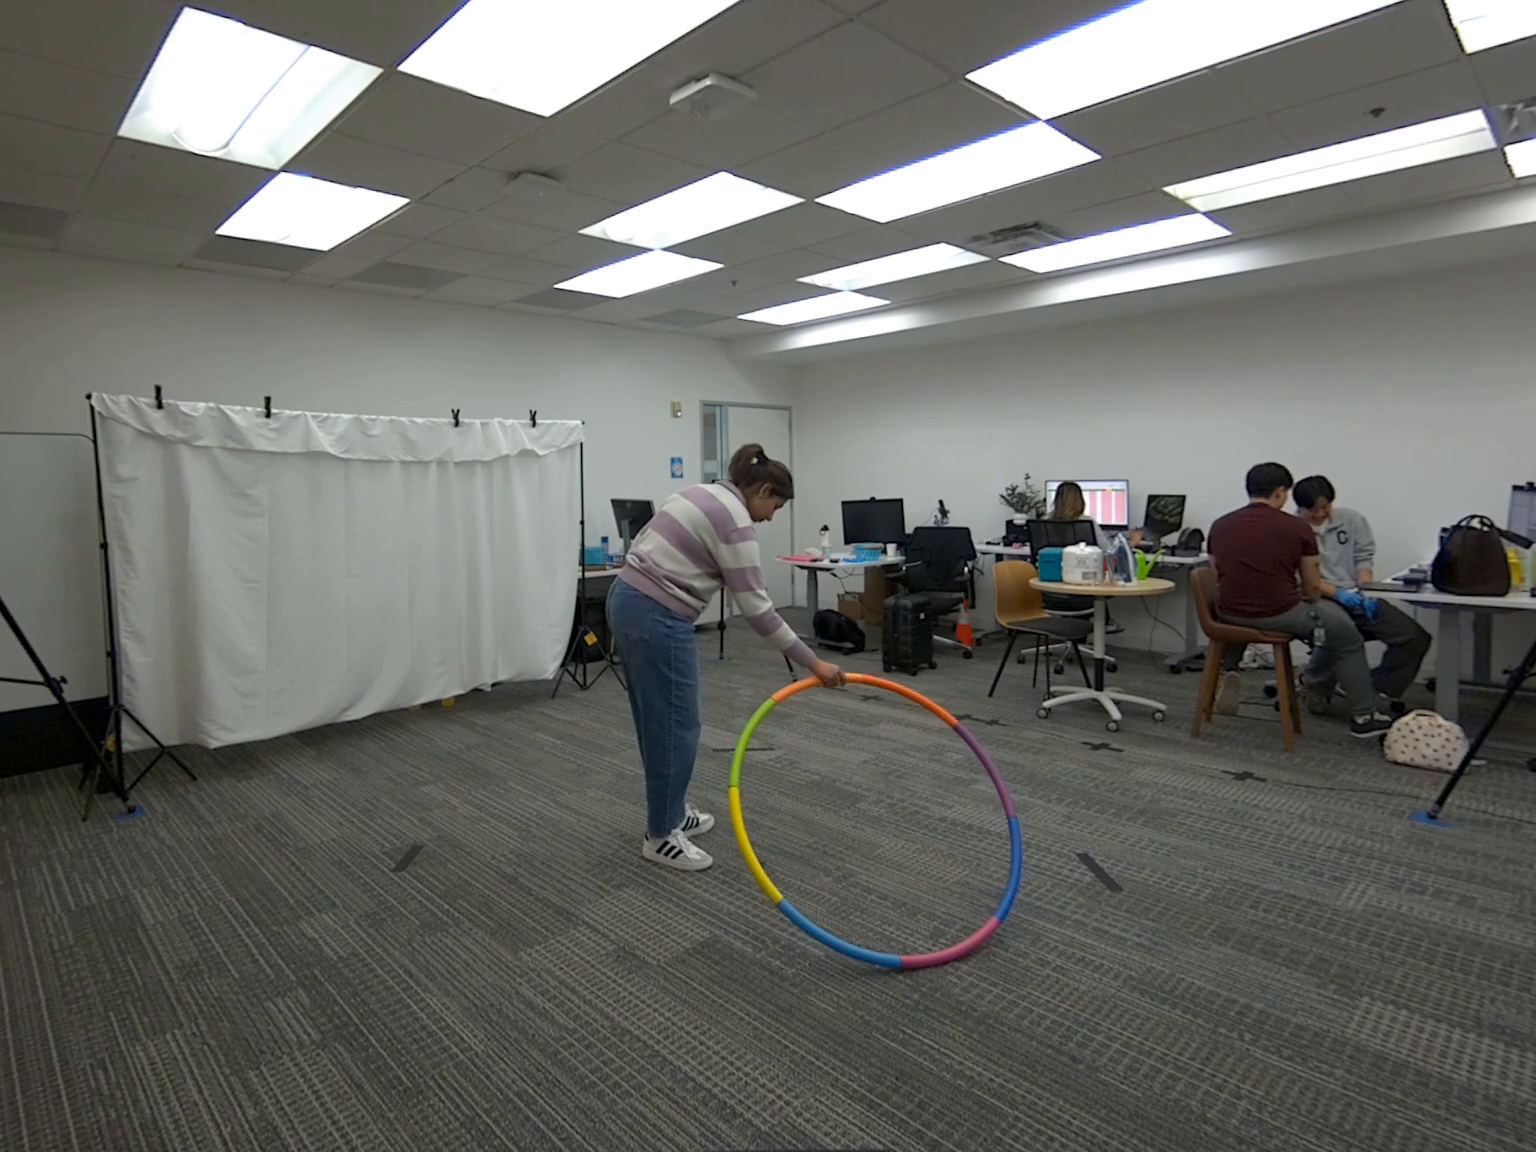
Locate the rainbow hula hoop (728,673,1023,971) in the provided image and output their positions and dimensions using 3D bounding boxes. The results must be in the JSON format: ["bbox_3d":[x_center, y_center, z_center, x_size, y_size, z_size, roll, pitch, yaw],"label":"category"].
[{"bbox_3d":[0.356,0.733,2.752,0.969,0.035,1.006,7,46,-10],"label":"rainbow hula hoop"}]
